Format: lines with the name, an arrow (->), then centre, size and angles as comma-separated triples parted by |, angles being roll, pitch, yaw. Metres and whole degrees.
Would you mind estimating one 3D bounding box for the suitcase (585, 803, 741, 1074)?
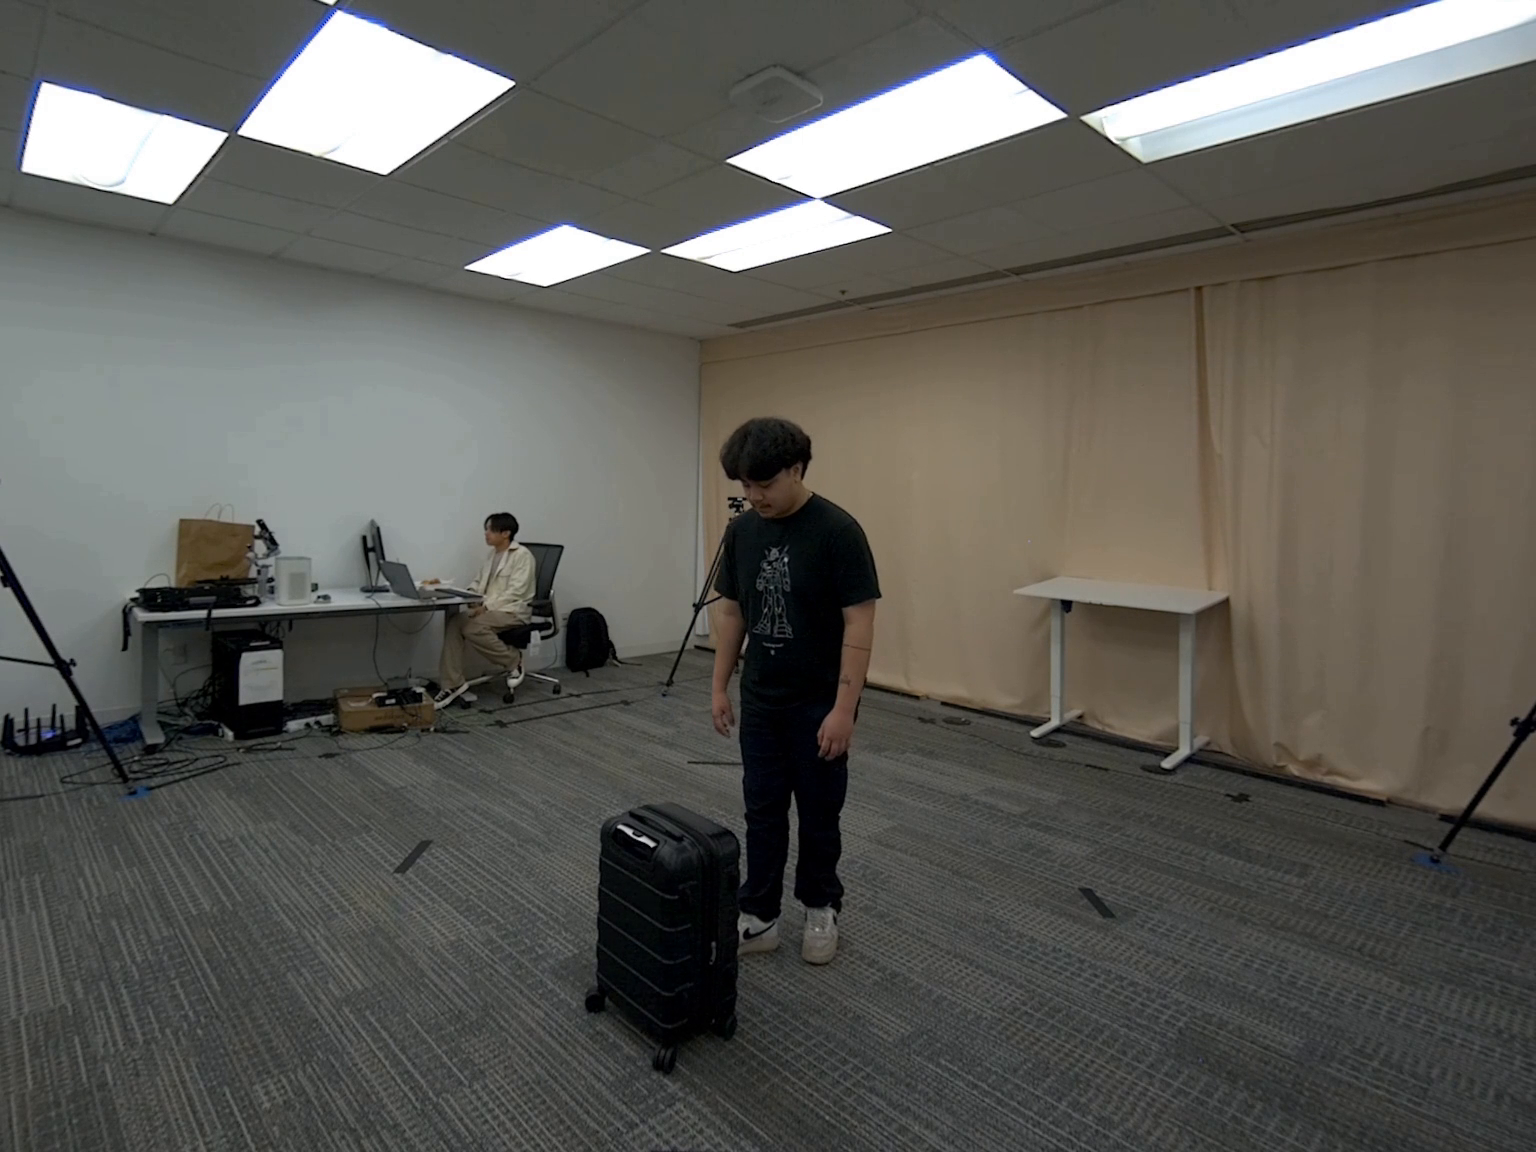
suitcase -> -0.274, 0.910, 2.227 | 0.242, 0.548, 0.385 | 0, 3, -43
